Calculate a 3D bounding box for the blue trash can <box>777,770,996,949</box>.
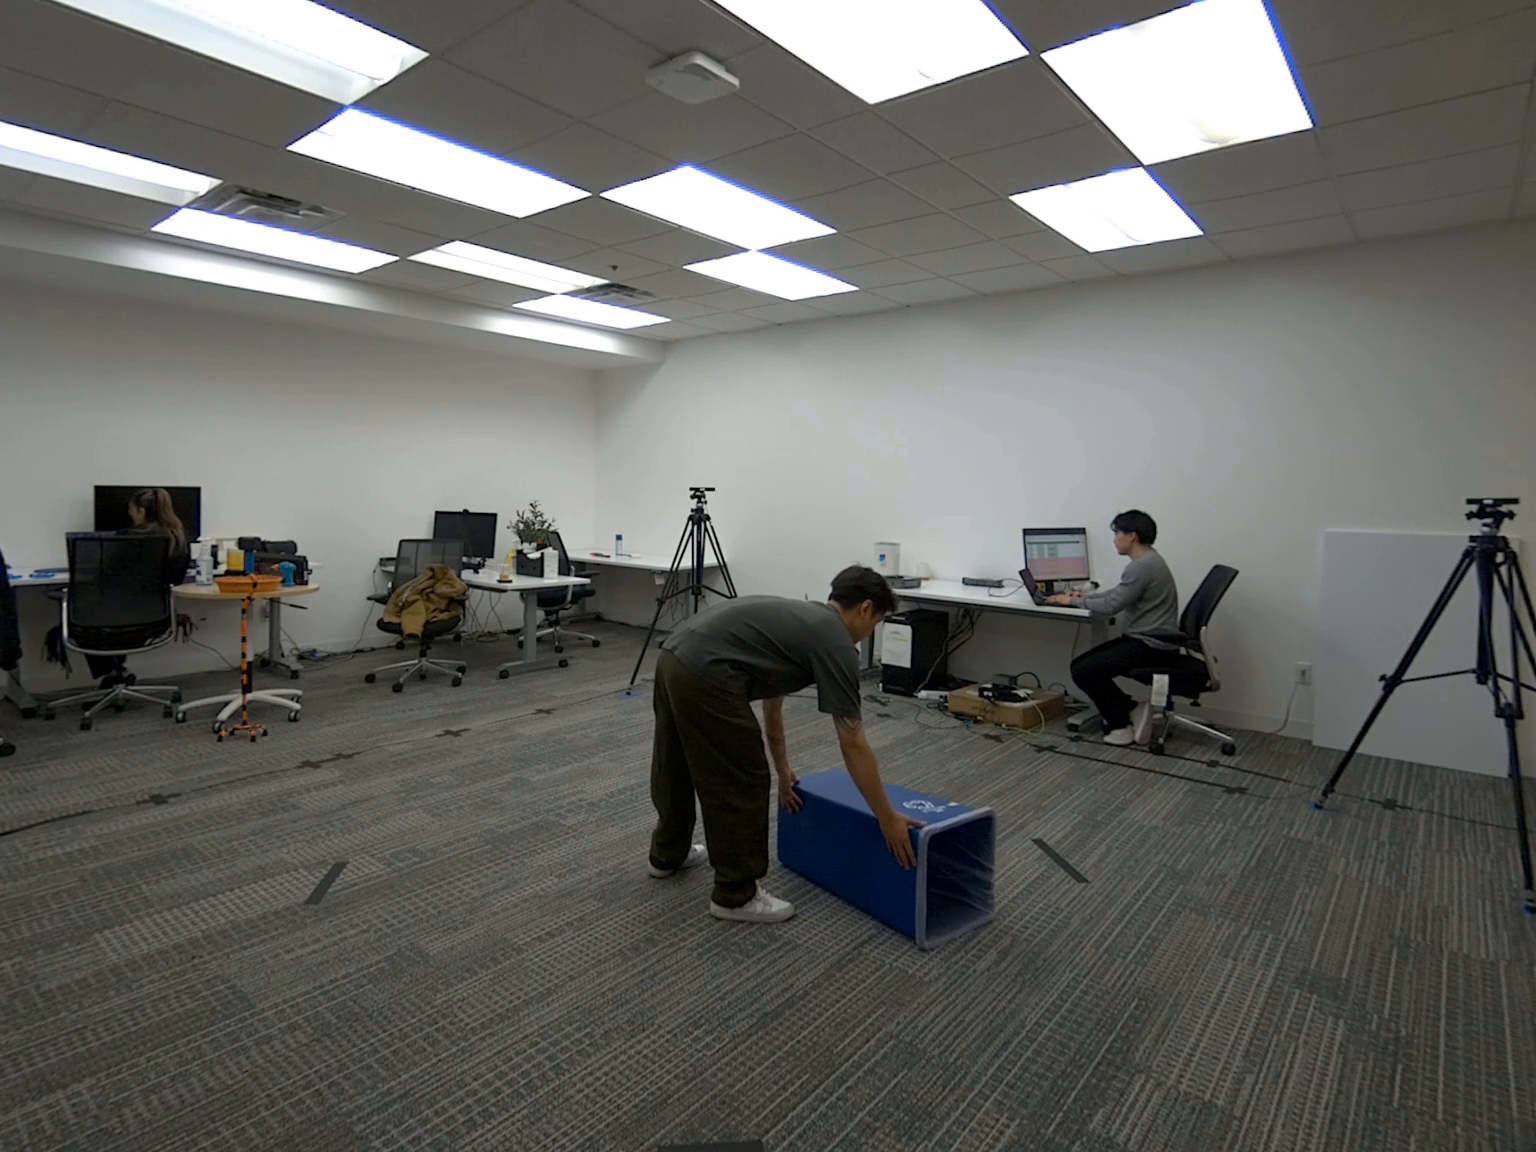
[{"bbox_3d":[0.372,0.923,2.954,0.367,0.373,0.737,-1,4,-39],"label":"blue trash can"}]
